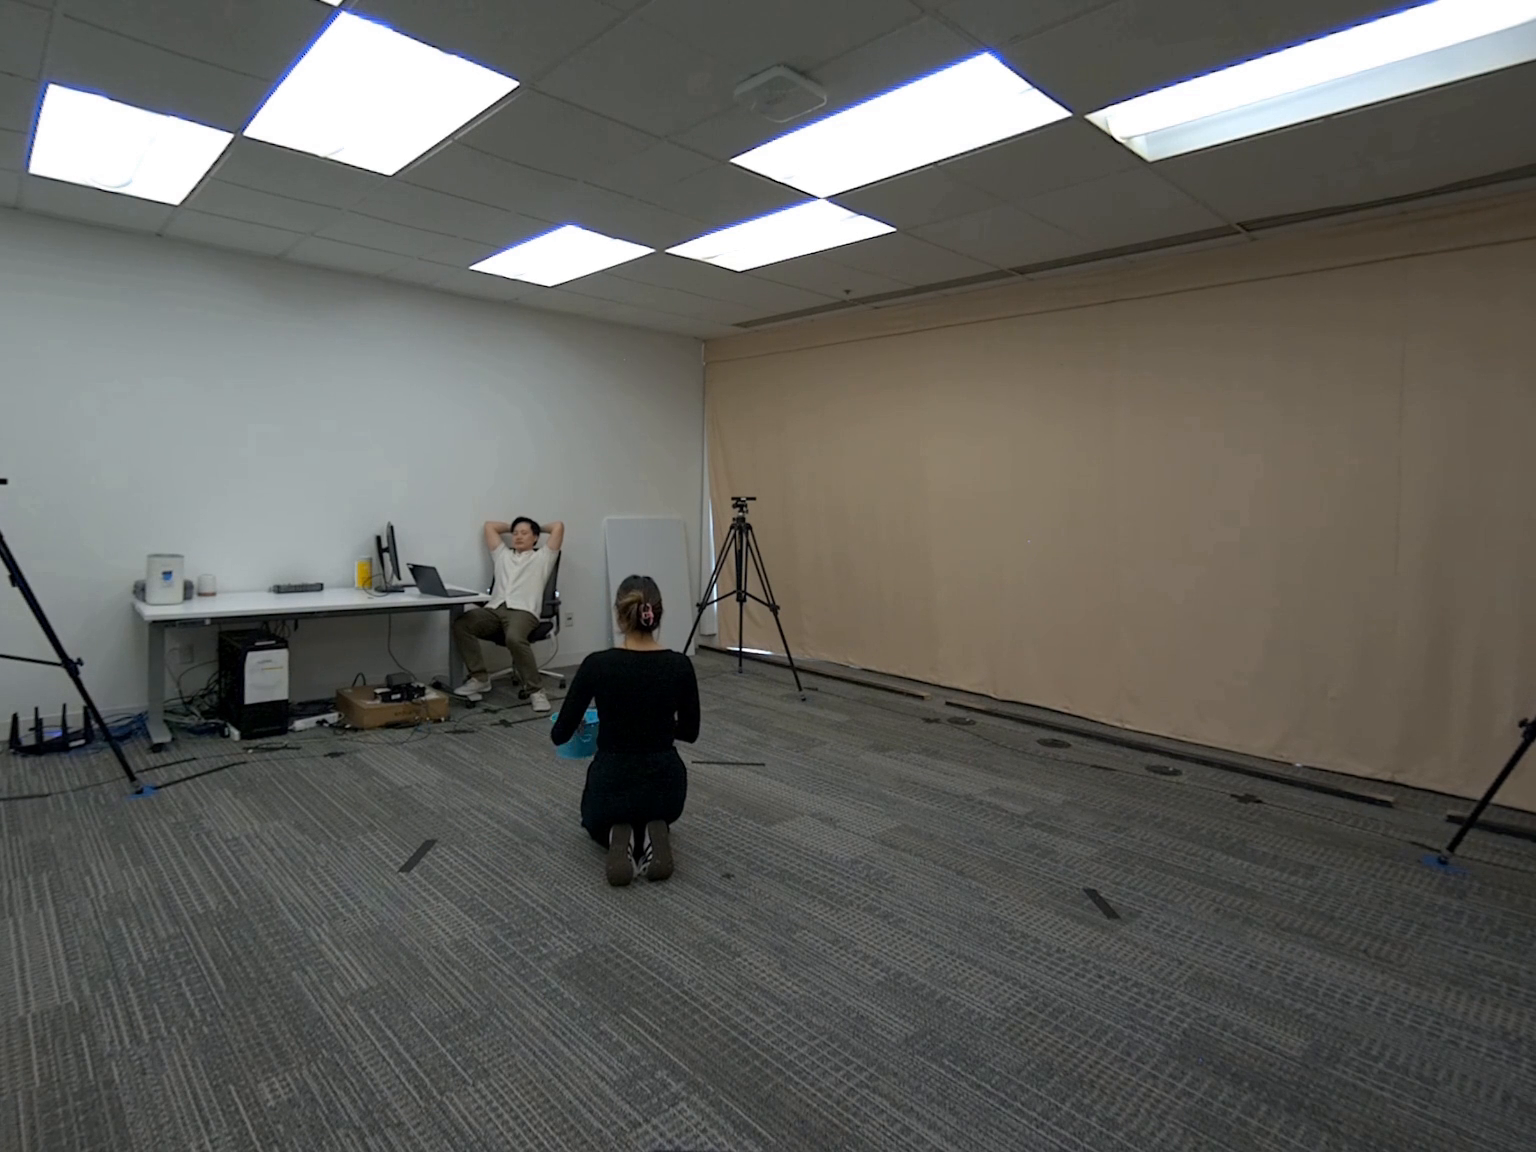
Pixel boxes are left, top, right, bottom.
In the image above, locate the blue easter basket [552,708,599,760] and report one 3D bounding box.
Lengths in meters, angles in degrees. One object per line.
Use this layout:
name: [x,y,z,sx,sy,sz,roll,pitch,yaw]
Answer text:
blue easter basket: [-0.803,0.673,3.542,0.243,0.155,0.244,2,4,-2]
